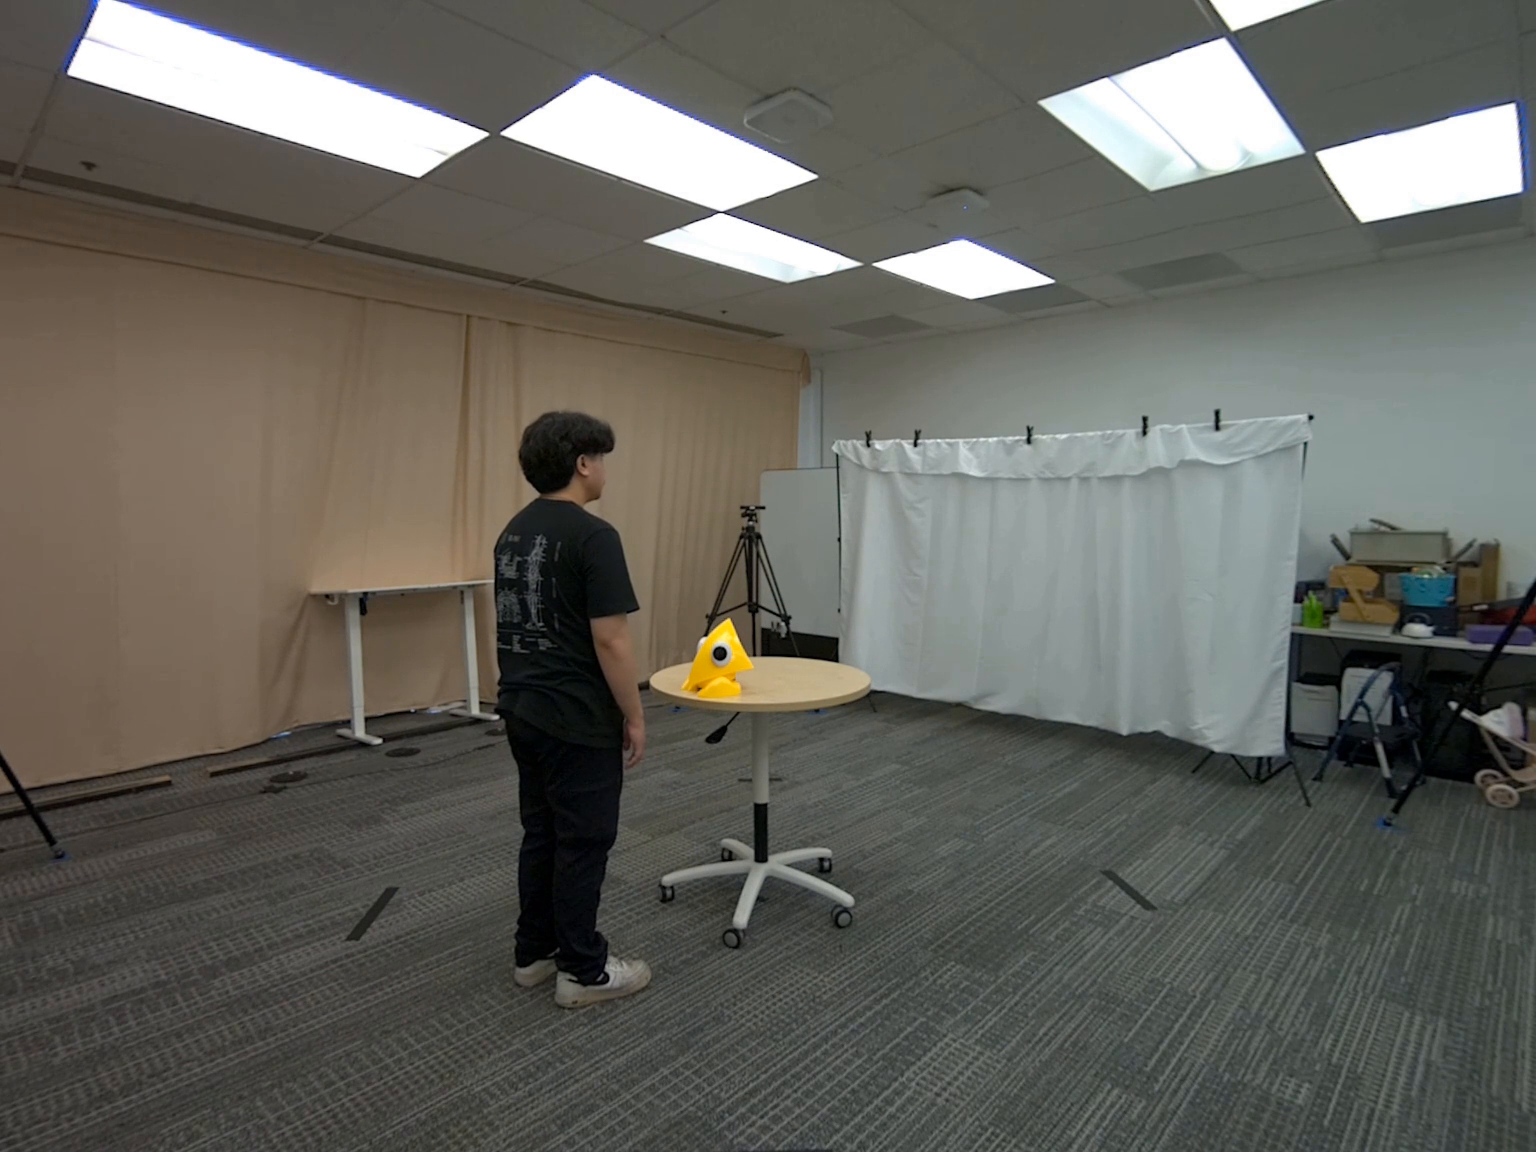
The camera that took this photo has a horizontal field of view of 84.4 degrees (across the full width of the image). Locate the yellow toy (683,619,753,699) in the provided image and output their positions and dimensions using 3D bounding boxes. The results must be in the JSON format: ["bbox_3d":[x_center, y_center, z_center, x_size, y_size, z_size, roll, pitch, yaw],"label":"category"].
[{"bbox_3d":[-0.169,0.261,2.742,0.188,0.230,0.211,-3,5,-32],"label":"yellow toy"}]
